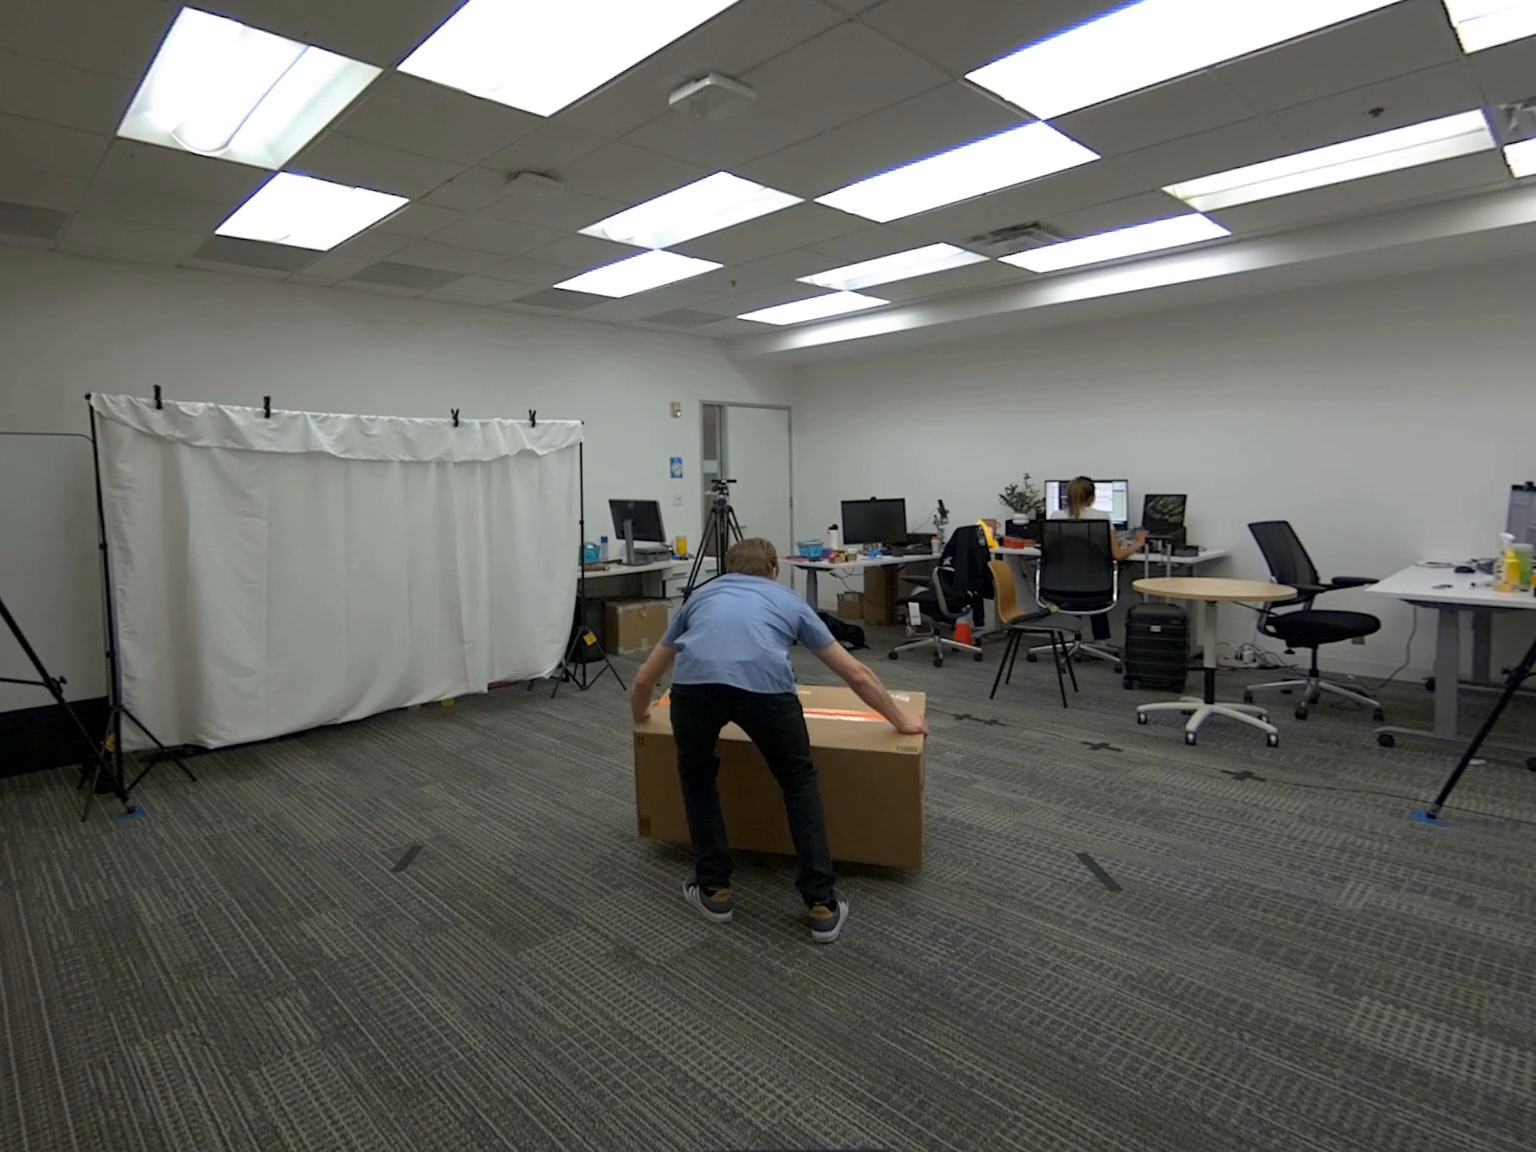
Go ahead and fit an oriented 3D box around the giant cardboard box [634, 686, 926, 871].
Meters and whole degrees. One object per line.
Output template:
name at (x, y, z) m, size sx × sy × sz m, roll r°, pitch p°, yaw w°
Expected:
giant cardboard box at (0.059, 0.708, 3.253) m, size 1.042 × 0.442 × 0.582 m, roll 3°, pitch 14°, yaw 14°
